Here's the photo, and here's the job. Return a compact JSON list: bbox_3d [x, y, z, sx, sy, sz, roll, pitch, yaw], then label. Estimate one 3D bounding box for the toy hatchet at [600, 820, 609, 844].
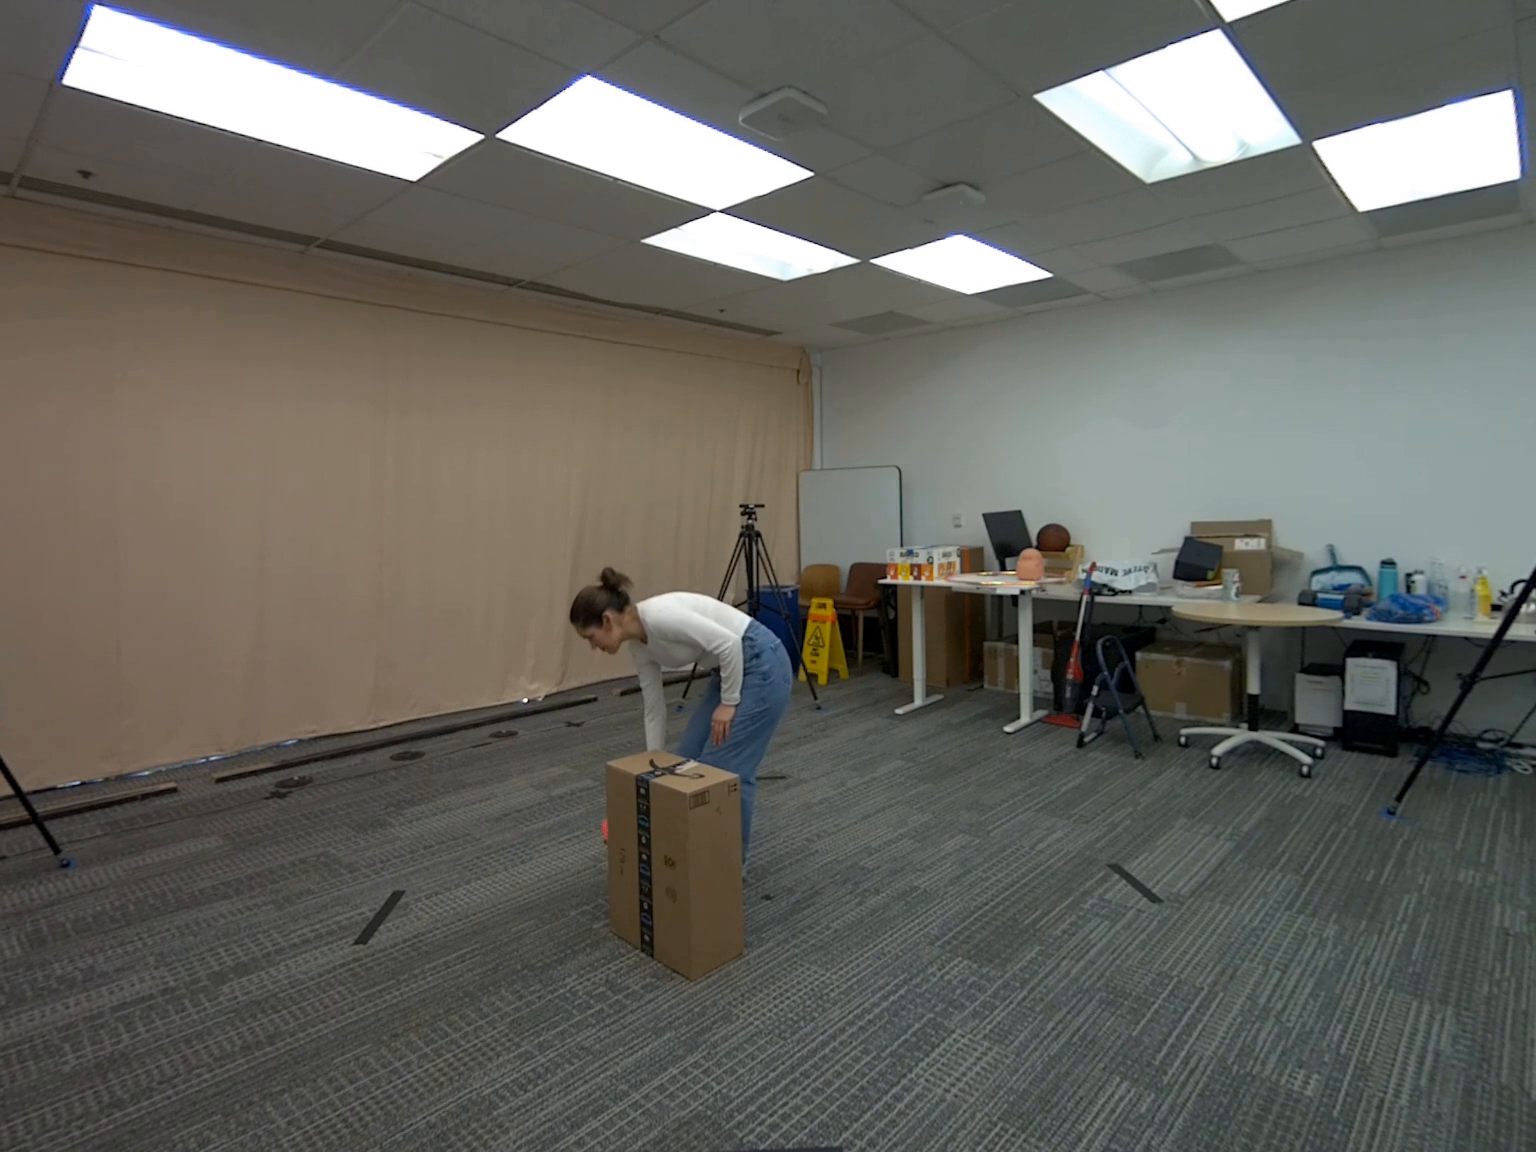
[{"bbox_3d":[-0.507,0.909,3.158,0.268,0.135,0.029,-40,-27,-18],"label":"toy hatchet"}]
